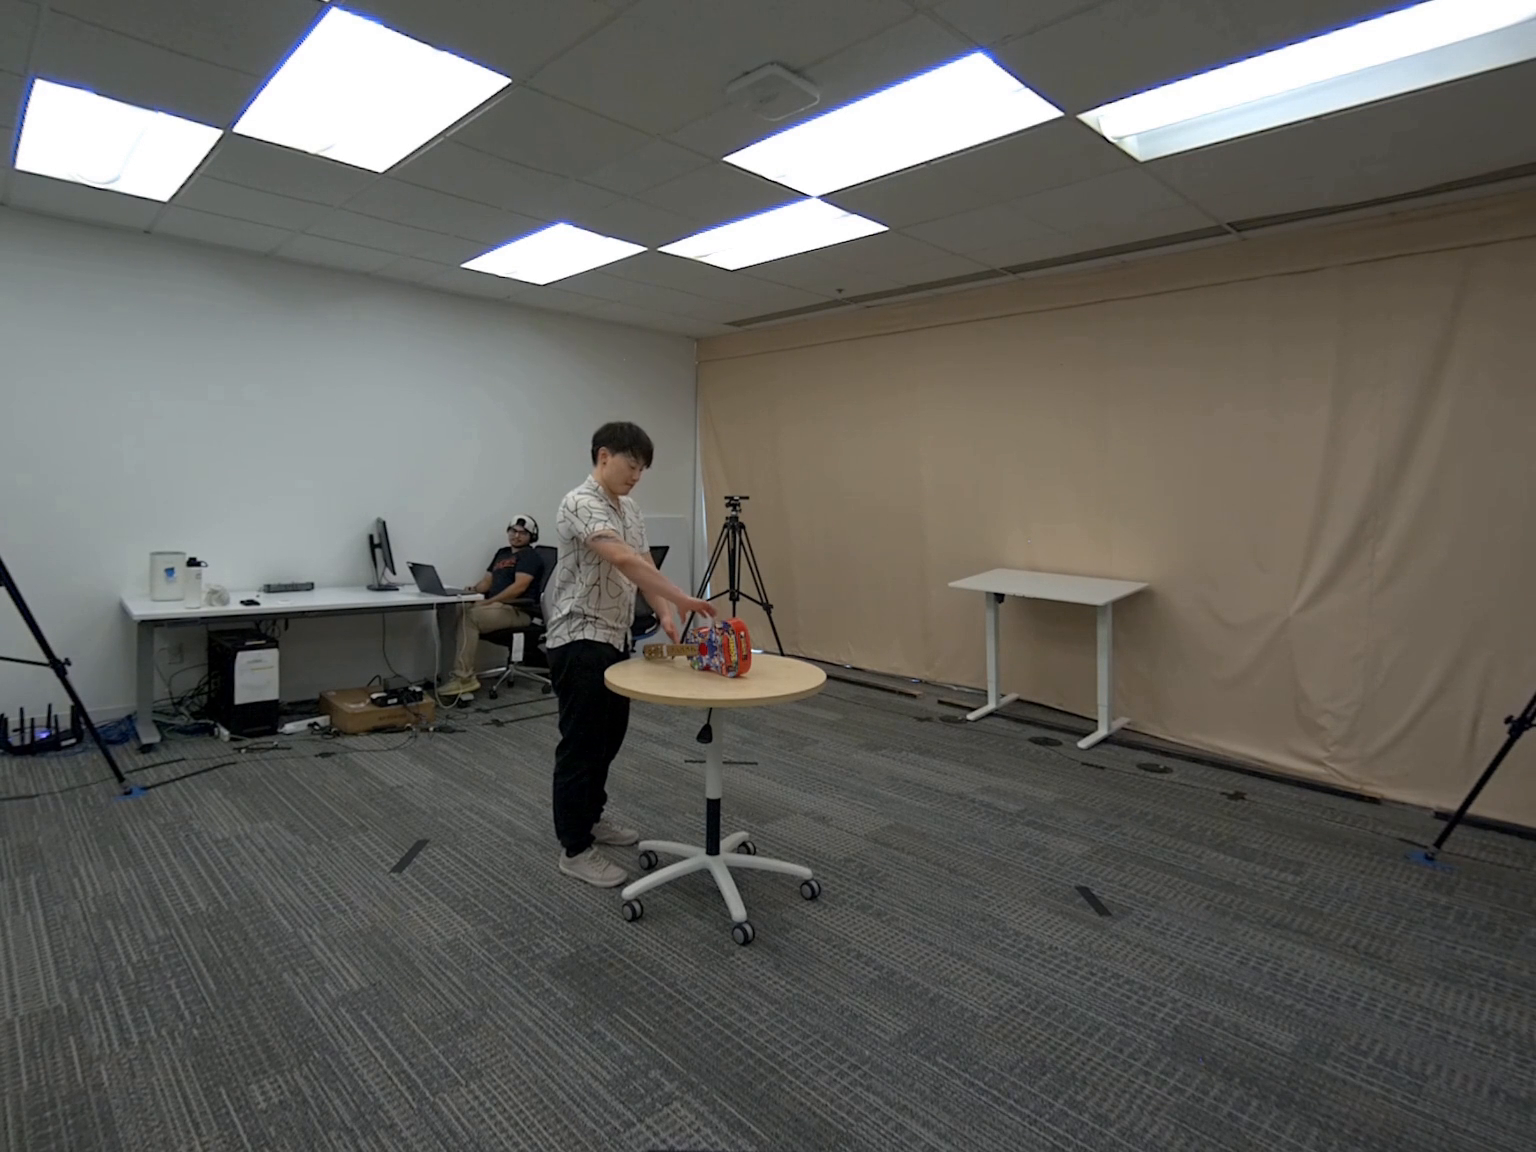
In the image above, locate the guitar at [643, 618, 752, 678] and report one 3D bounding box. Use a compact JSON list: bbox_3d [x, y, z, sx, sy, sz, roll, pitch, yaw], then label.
[{"bbox_3d":[-0.270,0.235,2.979,0.510,0.192,0.069,4,6,43],"label":"guitar"}]
